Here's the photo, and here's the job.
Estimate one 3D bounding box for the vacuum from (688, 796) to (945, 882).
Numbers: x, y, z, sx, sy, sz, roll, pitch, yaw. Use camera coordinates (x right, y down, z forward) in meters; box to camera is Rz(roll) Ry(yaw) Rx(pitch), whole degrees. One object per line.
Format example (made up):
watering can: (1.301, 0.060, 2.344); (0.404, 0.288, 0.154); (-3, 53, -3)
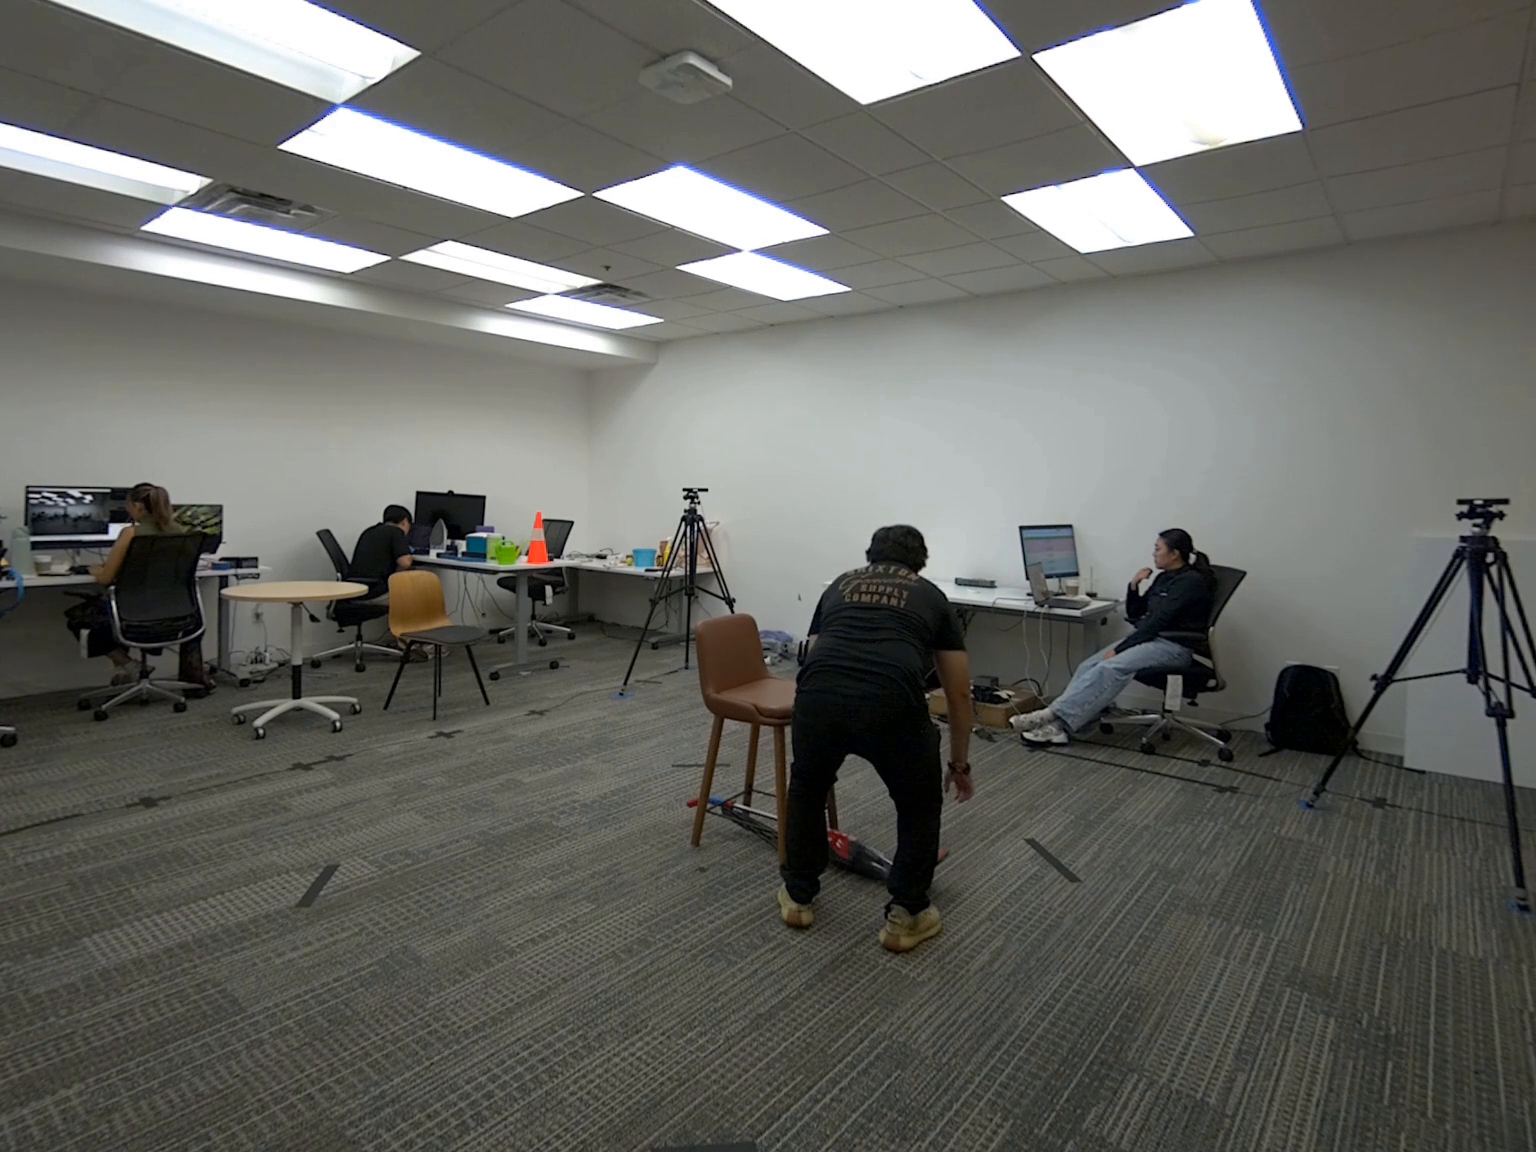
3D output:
vacuum: (0.105, 1.008, 3.284); (1.083, 0.143, 0.245); (4, 5, 36)
